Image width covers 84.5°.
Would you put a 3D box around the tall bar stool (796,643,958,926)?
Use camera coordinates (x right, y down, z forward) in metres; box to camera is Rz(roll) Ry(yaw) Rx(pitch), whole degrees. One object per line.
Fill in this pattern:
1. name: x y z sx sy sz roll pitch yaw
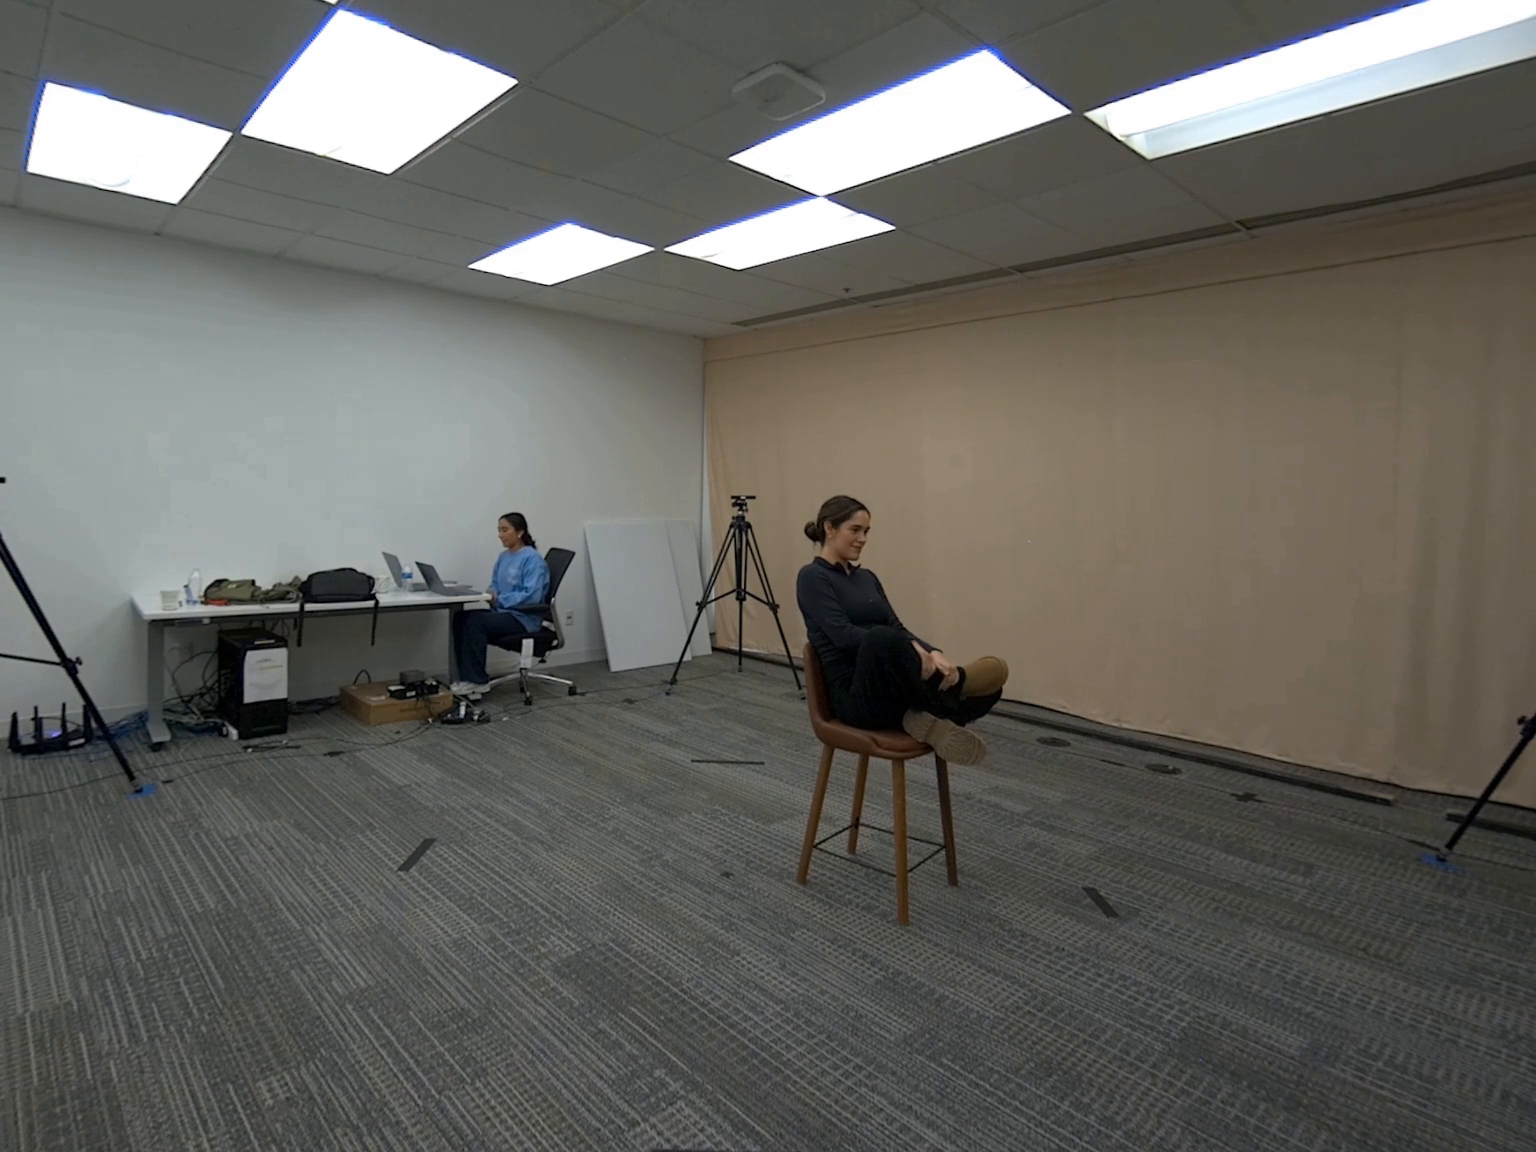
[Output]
1. tall bar stool: 0.392 0.688 3.036 0.479 0.888 0.446 2 2 38
